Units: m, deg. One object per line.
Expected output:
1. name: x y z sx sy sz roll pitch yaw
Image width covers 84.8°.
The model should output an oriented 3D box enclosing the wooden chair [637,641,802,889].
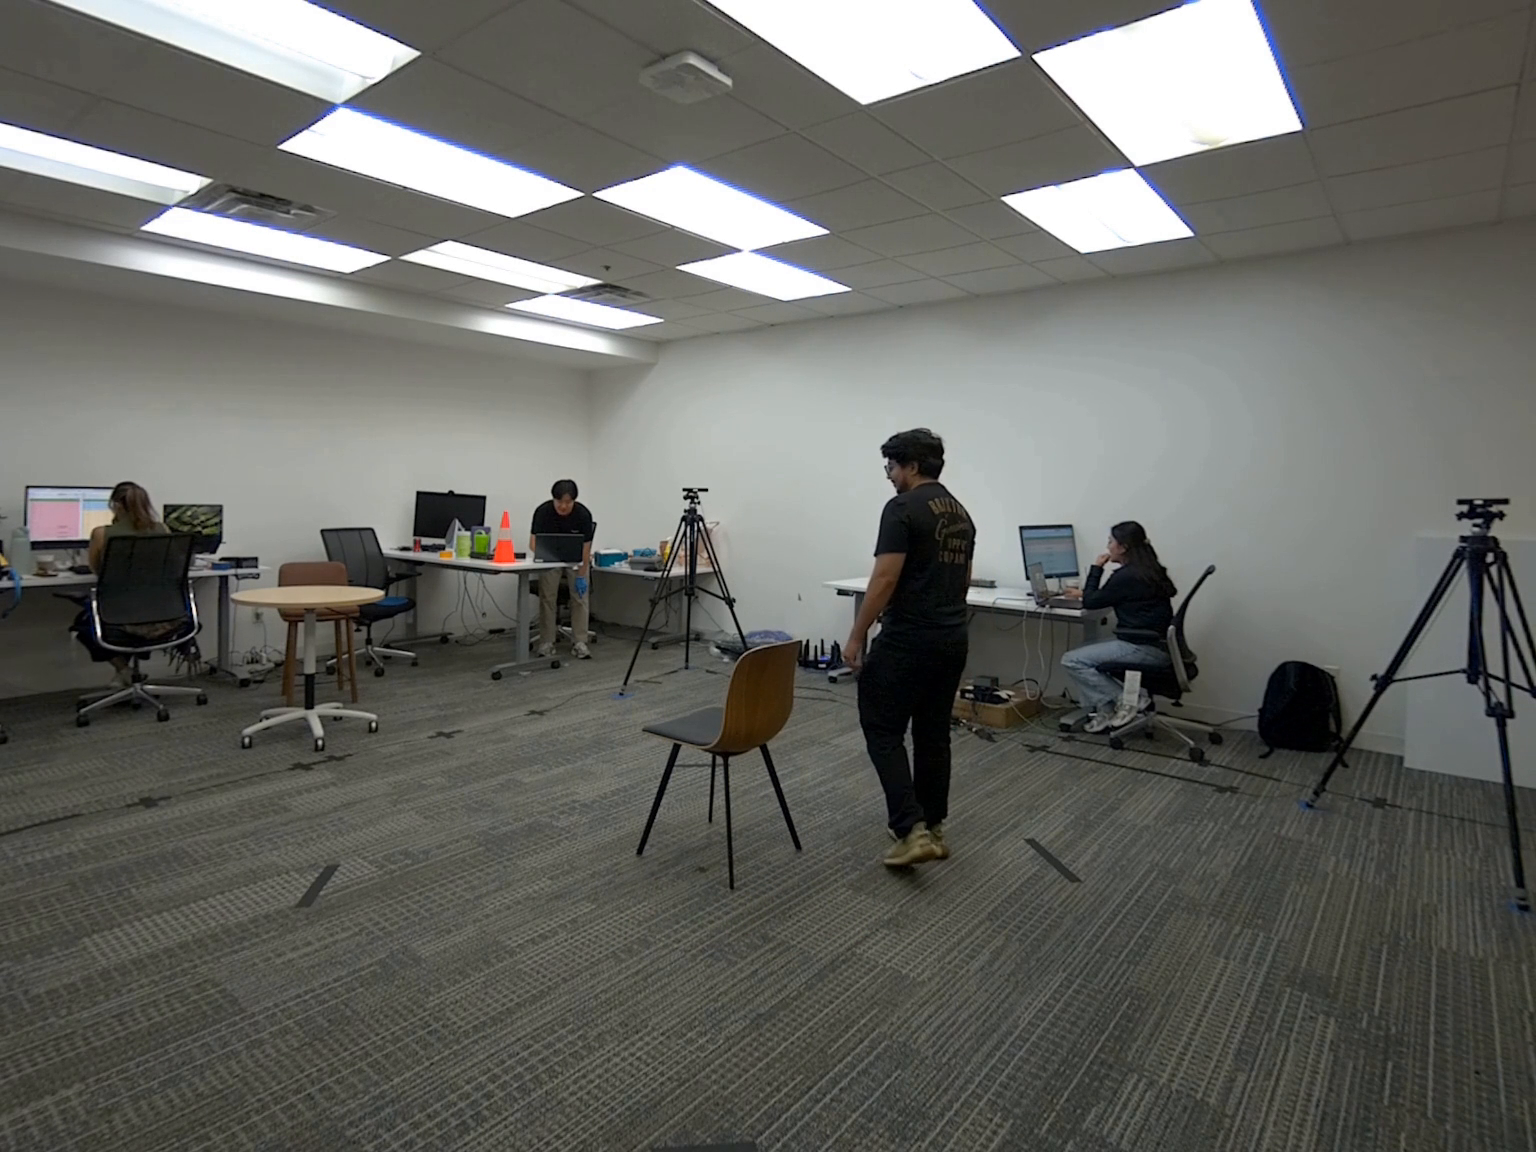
1. wooden chair: -0.192 0.632 3.237 0.541 0.873 0.464 9 7 36
